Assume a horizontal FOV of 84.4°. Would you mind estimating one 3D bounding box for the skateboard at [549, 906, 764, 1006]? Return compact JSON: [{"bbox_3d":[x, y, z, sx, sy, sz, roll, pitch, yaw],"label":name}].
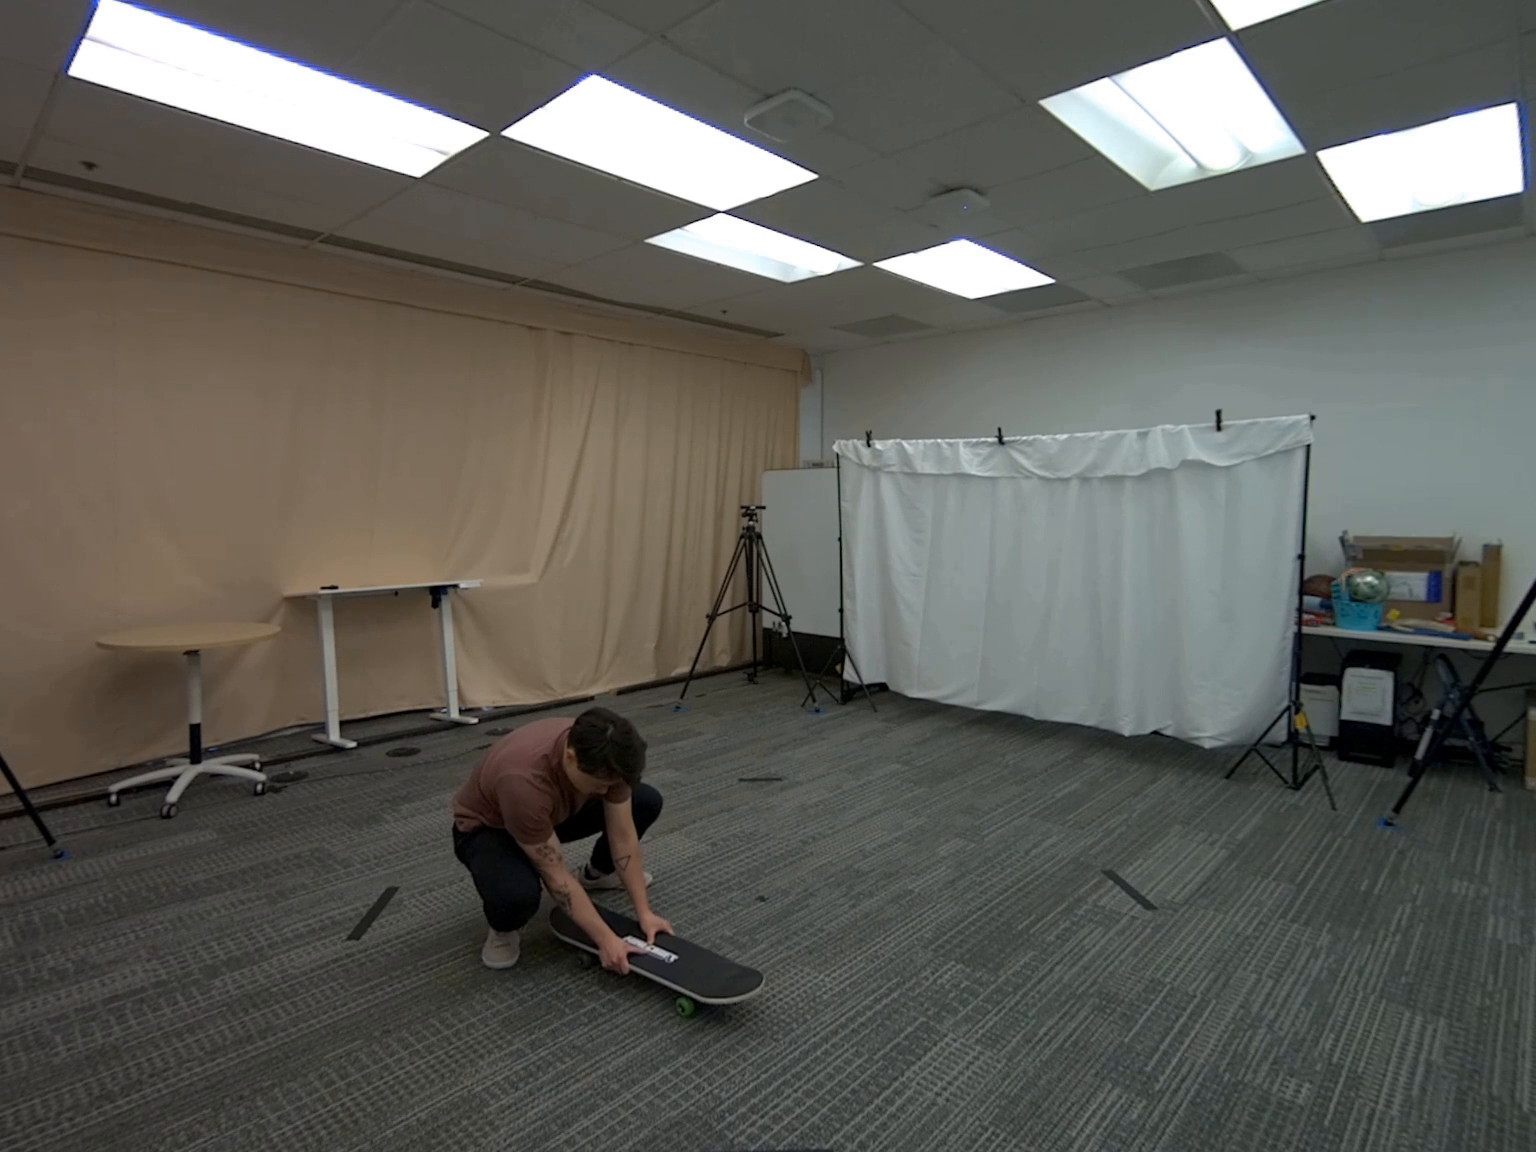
[{"bbox_3d":[-0.354,1.136,2.473,0.810,0.110,0.188,2,7,36],"label":"skateboard"}]
